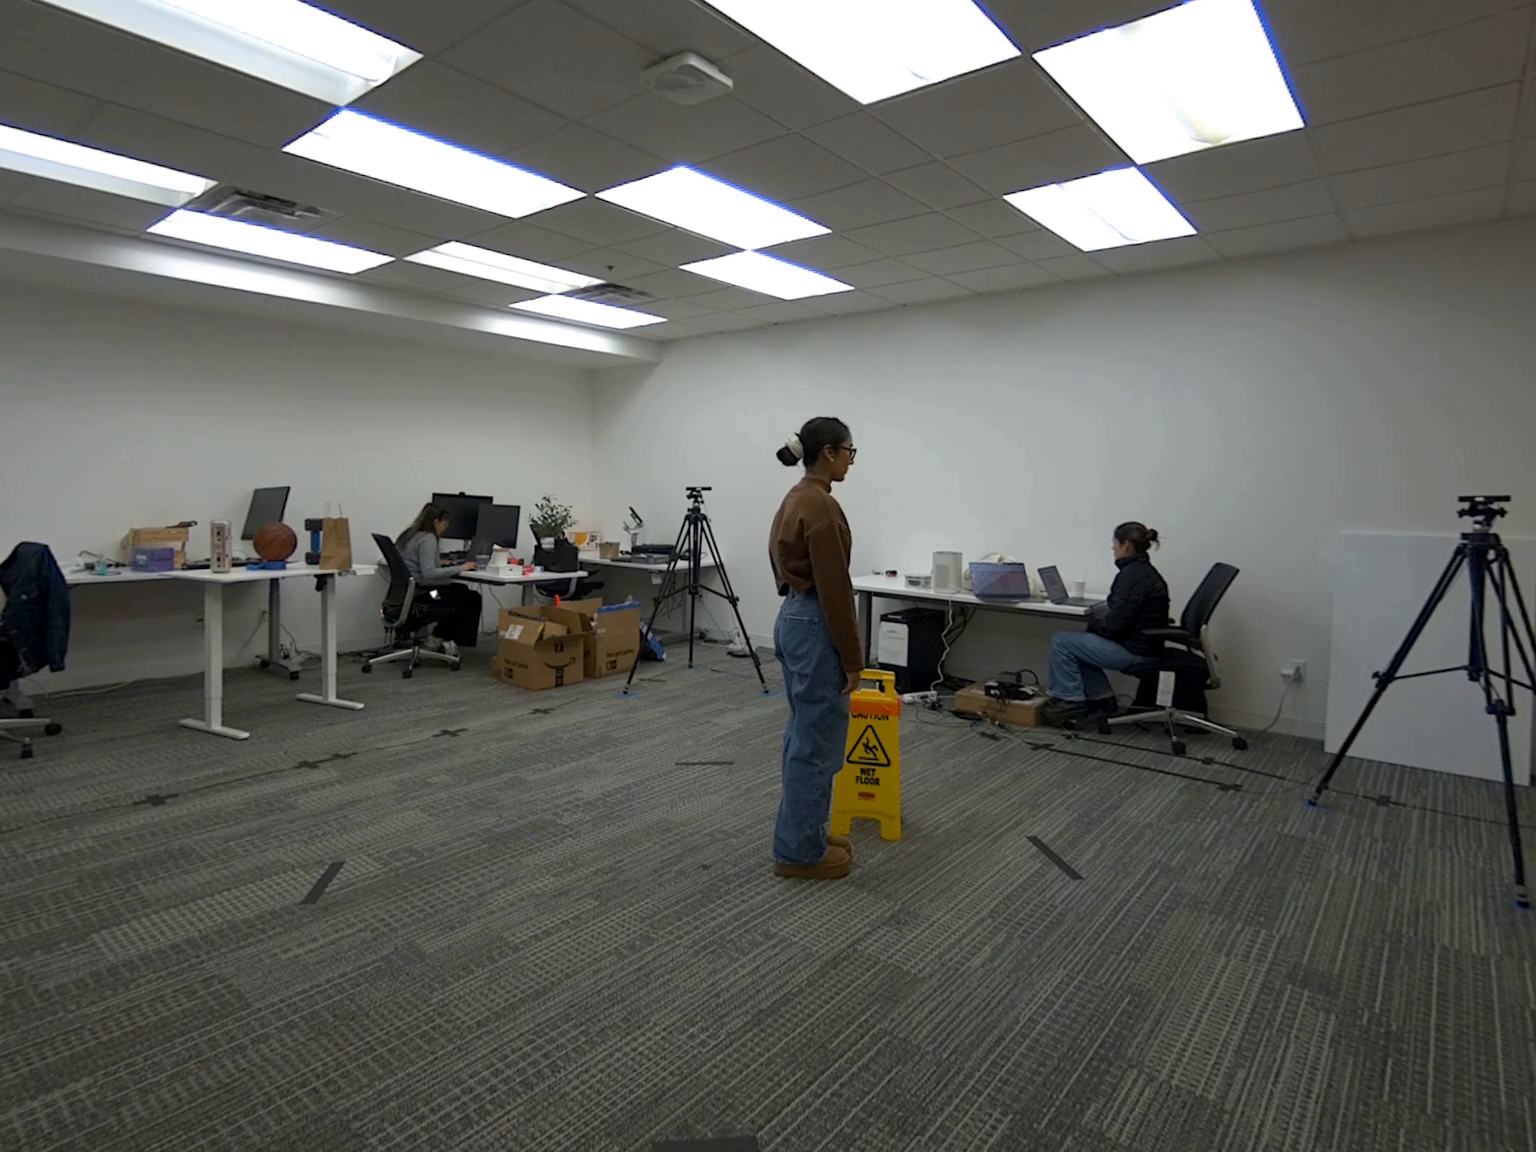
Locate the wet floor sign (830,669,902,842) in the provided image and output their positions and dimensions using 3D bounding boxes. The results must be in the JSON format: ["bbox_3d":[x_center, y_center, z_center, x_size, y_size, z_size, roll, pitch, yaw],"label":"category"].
[{"bbox_3d":[0.410,0.709,3.541,0.285,0.644,0.287,3,3,9],"label":"wet floor sign"}]
